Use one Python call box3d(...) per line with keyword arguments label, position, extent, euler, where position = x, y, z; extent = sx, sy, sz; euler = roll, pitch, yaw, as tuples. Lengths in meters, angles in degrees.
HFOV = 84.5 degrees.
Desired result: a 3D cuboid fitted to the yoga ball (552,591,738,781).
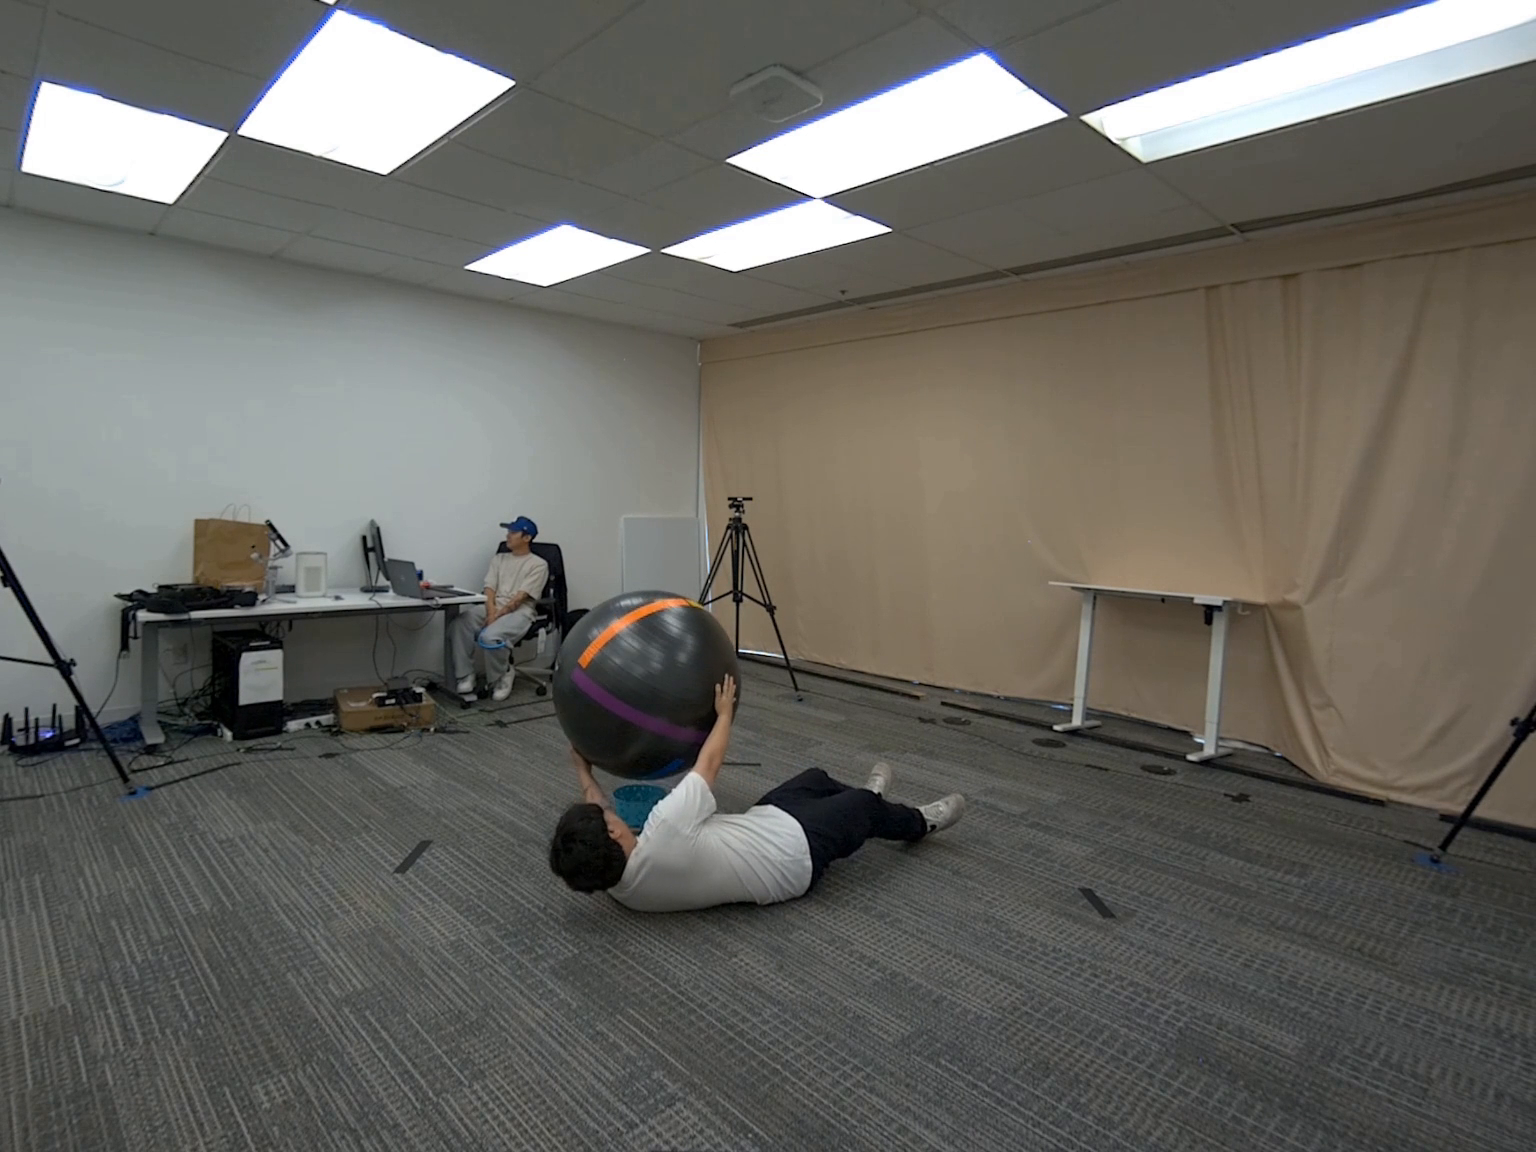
box3d(label="yoga ball", position=(-0.487, 0.437, 3.419), extent=(0.757, 0.756, 0.761), euler=(1, 4, -1))
